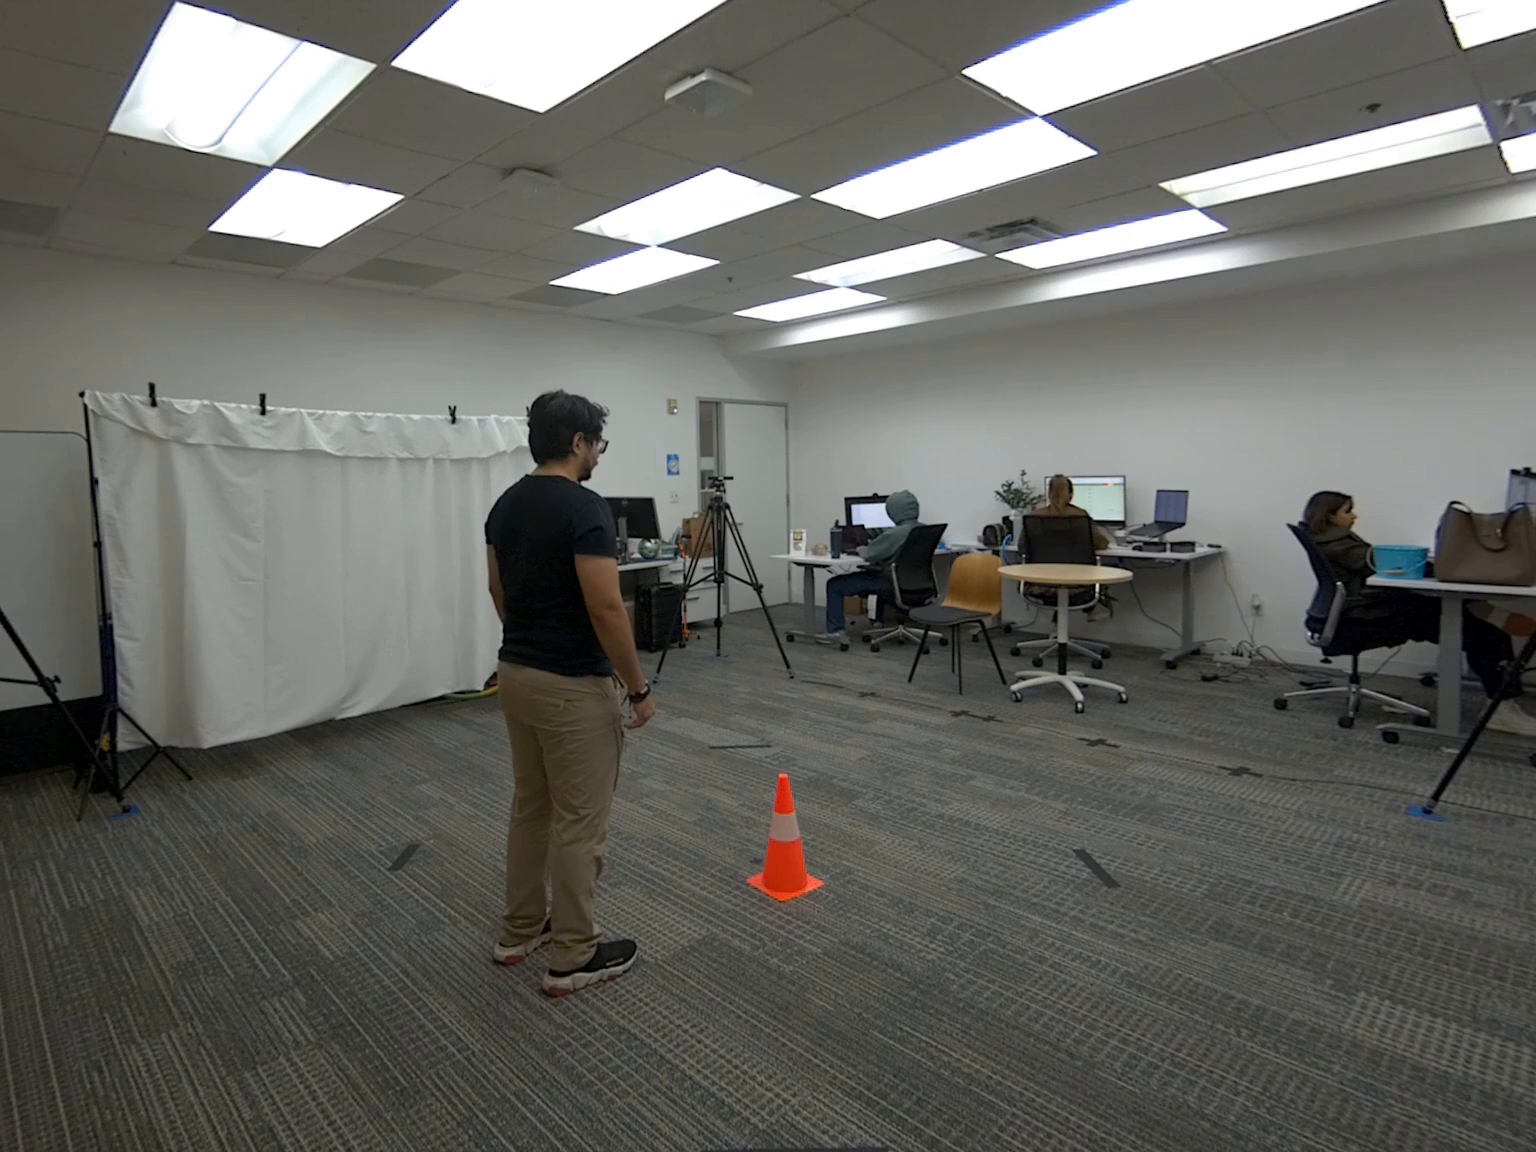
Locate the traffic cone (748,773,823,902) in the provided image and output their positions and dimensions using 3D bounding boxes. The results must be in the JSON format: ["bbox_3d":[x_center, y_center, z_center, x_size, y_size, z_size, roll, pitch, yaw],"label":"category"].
[{"bbox_3d":[0.058,0.871,2.924,0.200,0.382,0.209,-6,6,-36],"label":"traffic cone"}]
